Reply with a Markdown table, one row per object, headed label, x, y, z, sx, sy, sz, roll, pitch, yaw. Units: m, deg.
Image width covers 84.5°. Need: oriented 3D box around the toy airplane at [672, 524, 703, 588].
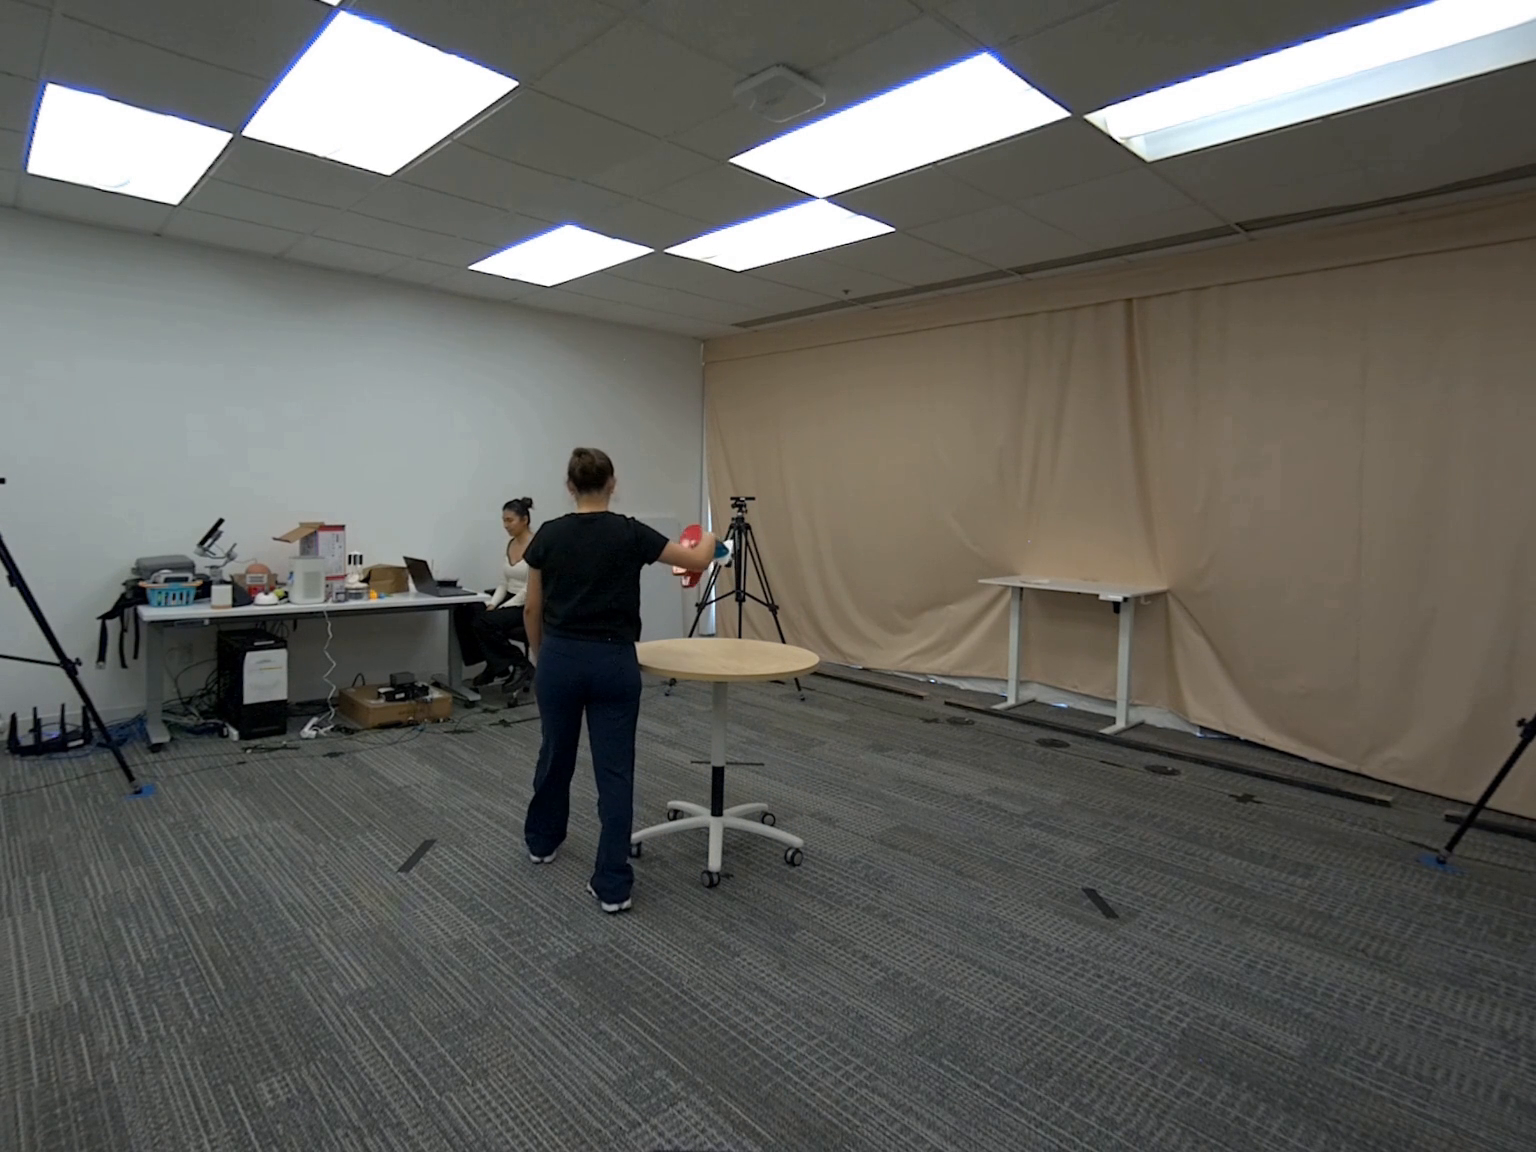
| label | x | y | z | sx | sy | sz | roll | pitch | yaw |
| --- | --- | --- | --- | --- | --- | --- | --- | --- | --- |
| toy airplane | -0.263 | -0.088 | 3.288 | 0.152 | 0.260 | 0.258 | 46 | 15 | -36 |
